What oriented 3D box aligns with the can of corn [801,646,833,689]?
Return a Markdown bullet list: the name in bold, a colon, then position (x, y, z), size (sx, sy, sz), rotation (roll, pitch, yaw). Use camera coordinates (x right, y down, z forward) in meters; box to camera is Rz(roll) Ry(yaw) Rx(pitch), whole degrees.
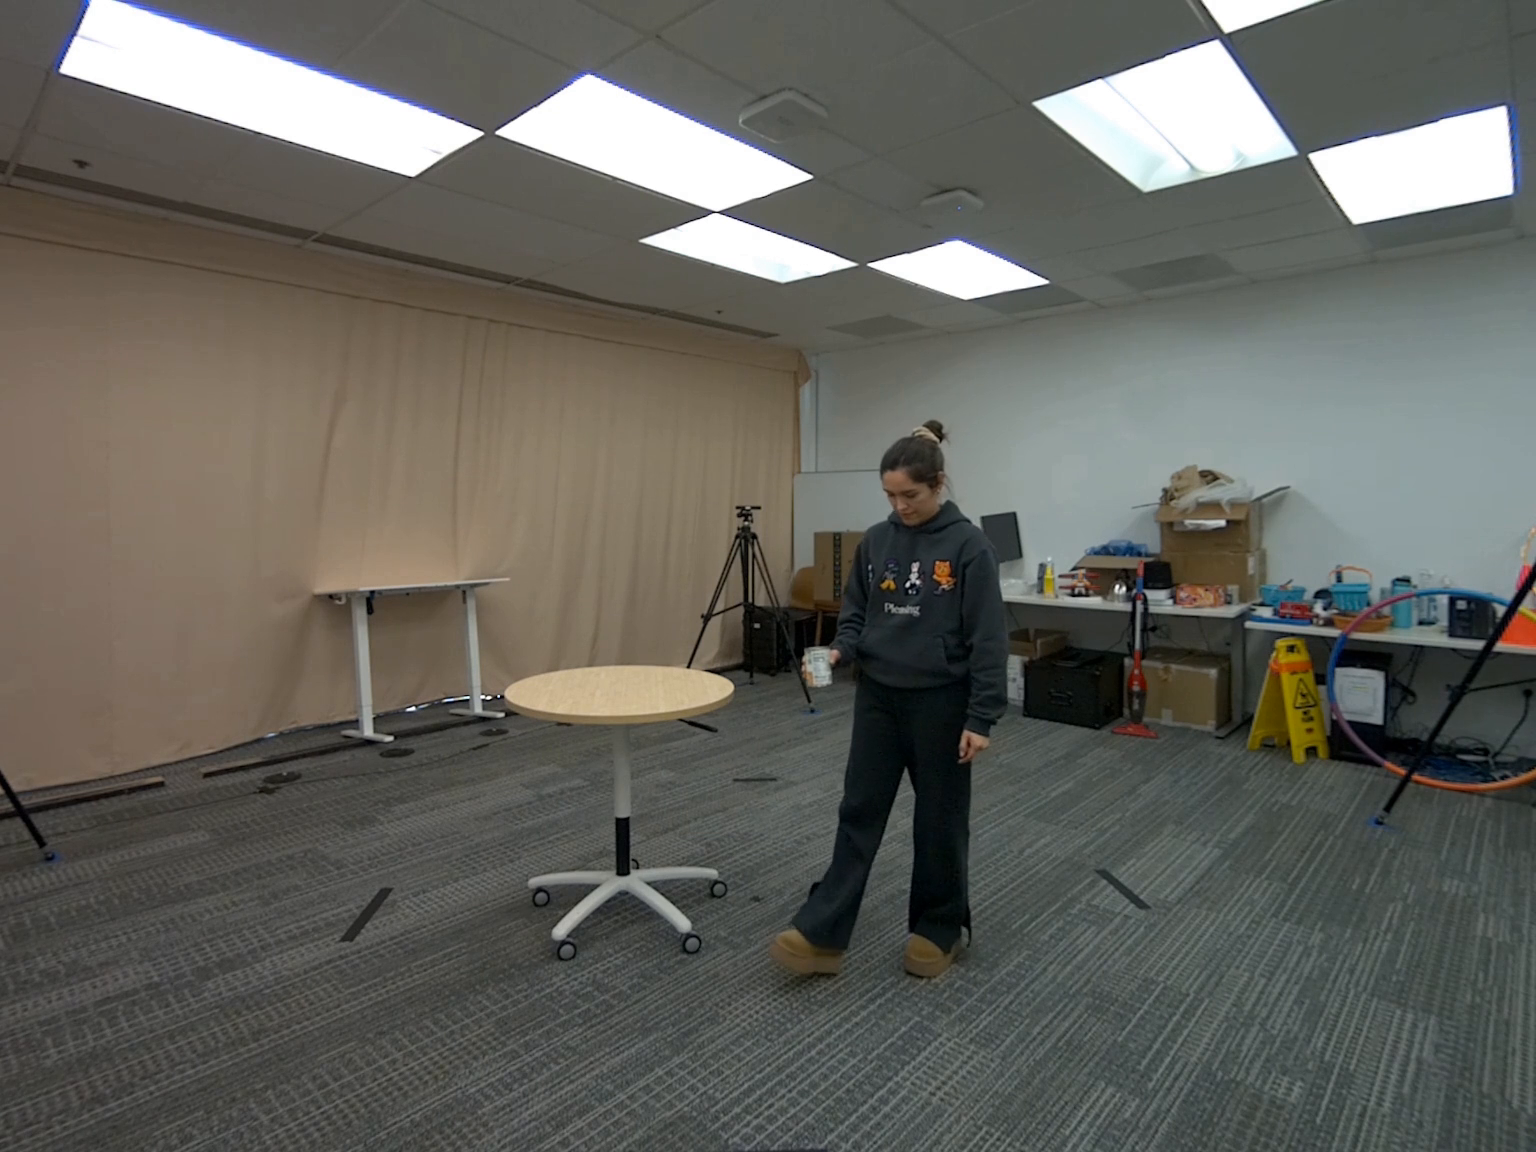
- **can of corn**: position (0.141, 0.270, 2.480), size (0.074, 0.111, 0.074), rotation (-5, -4, -2)
